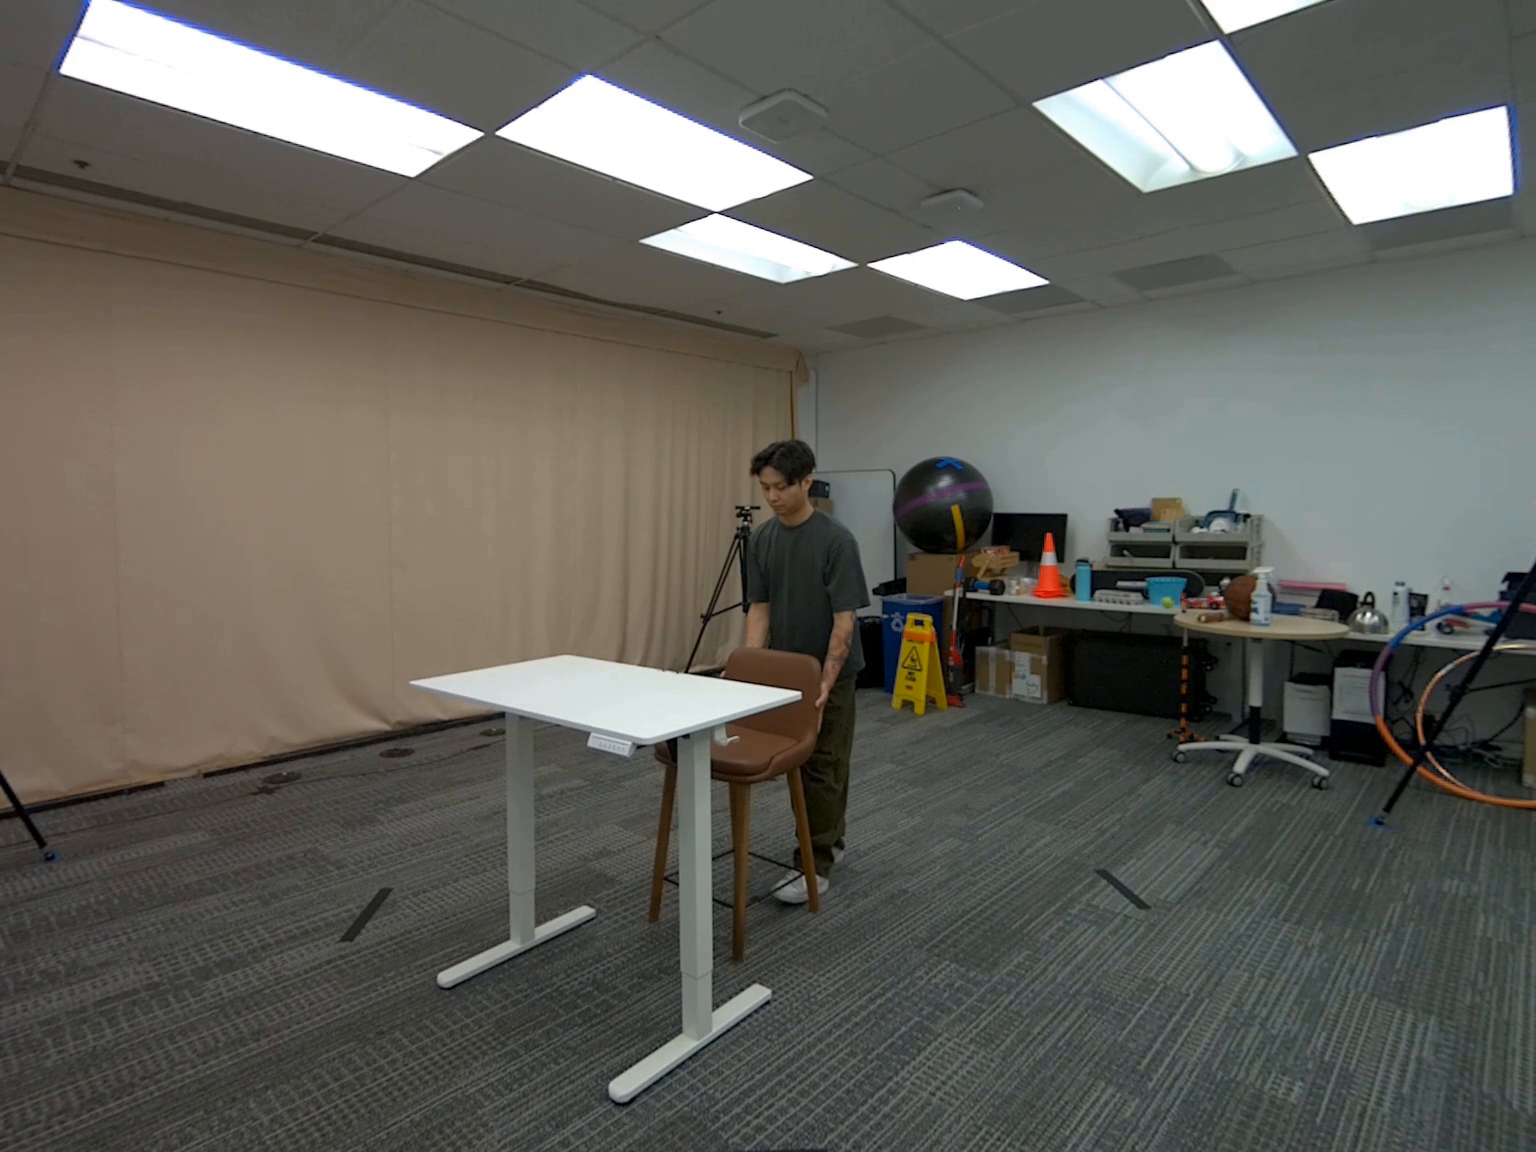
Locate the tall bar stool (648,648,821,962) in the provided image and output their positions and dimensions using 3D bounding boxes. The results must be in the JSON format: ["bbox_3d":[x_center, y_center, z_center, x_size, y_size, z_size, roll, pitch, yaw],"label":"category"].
[{"bbox_3d":[-0.103,0.718,2.839,0.471,0.889,0.453,3,3,40],"label":"tall bar stool"}]
